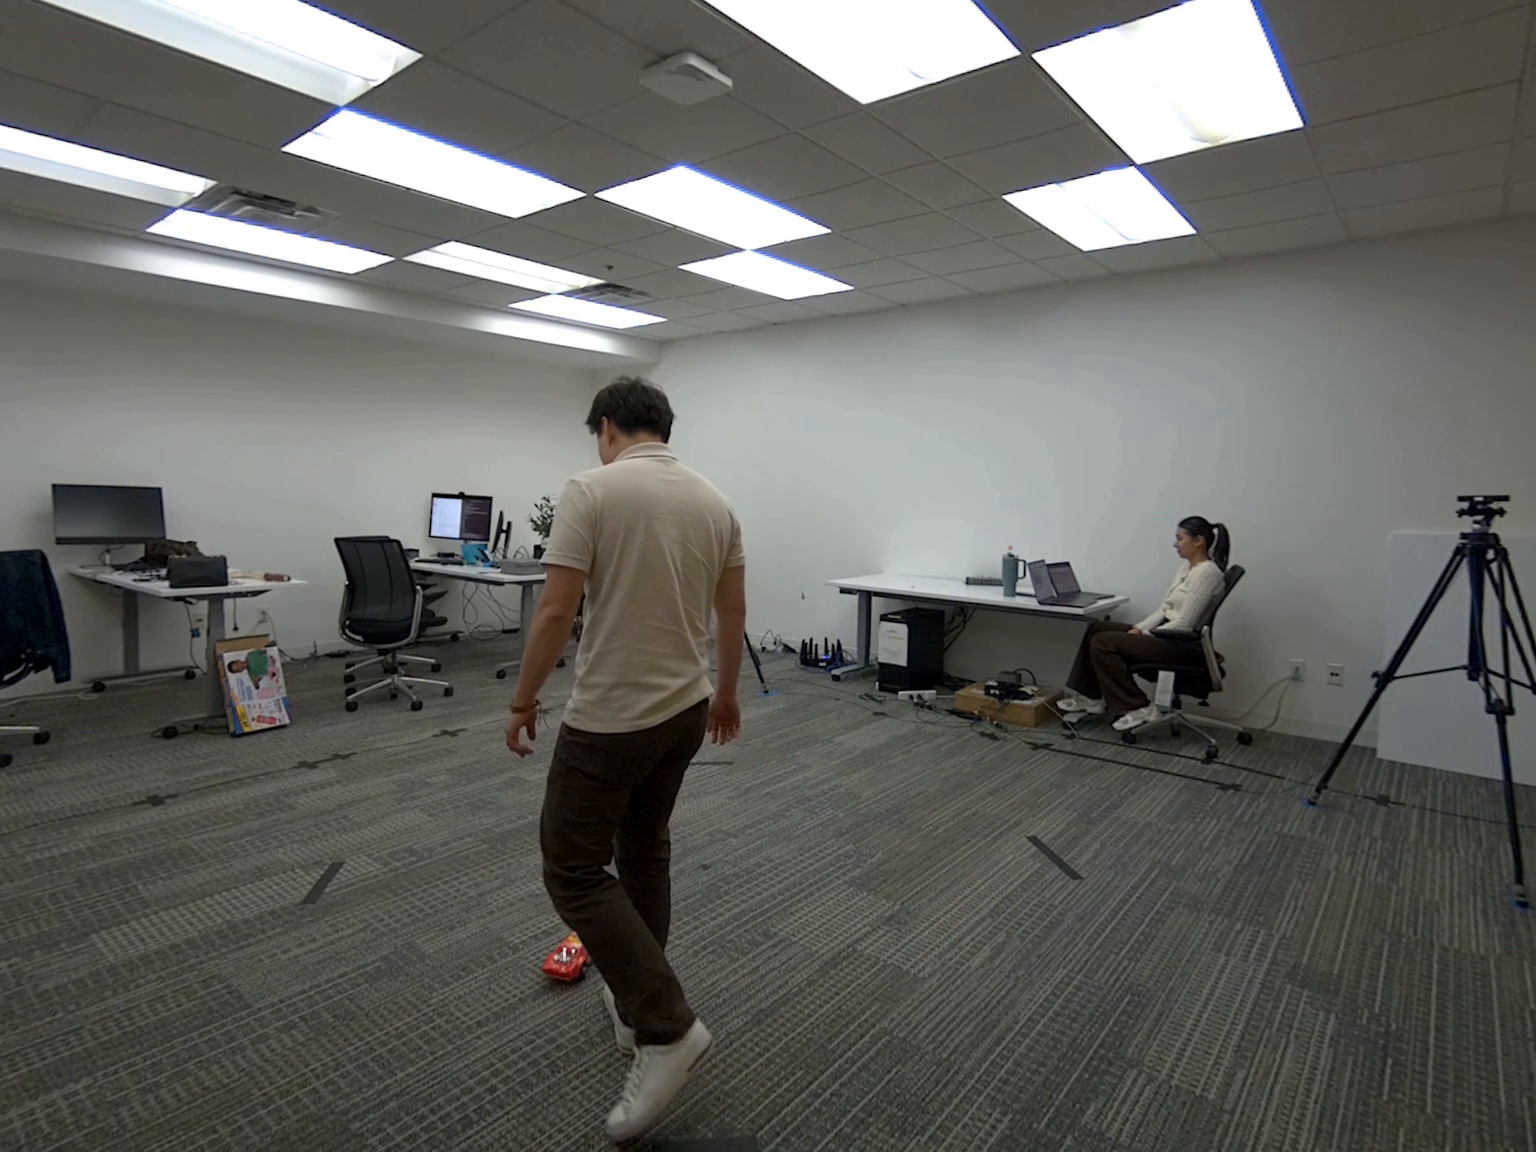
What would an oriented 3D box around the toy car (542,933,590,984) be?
[{"bbox_3d":[-0.568,1.093,2.454,0.133,0.083,0.248,3,-4,16],"label":"toy car"}]
